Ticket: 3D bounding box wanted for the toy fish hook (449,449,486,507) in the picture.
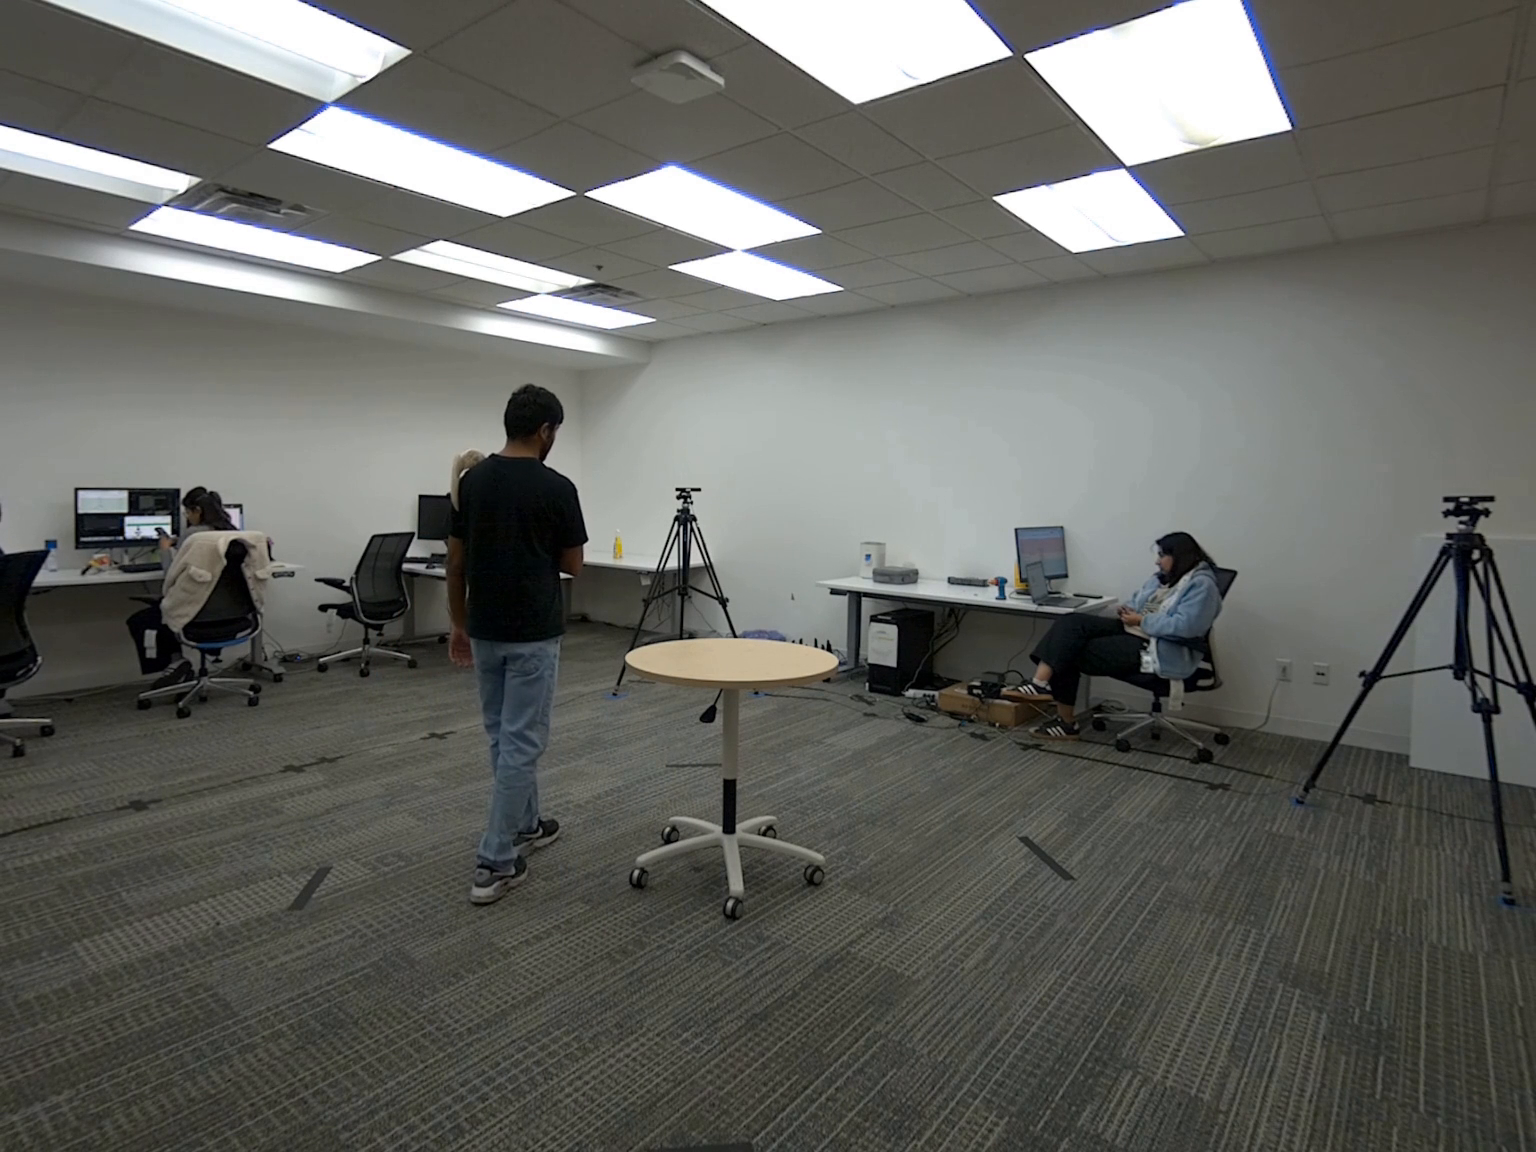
[{"bbox_3d":[-1.050,-0.204,3.049,0.049,0.498,0.223,1,17,22],"label":"toy fish hook"}]
